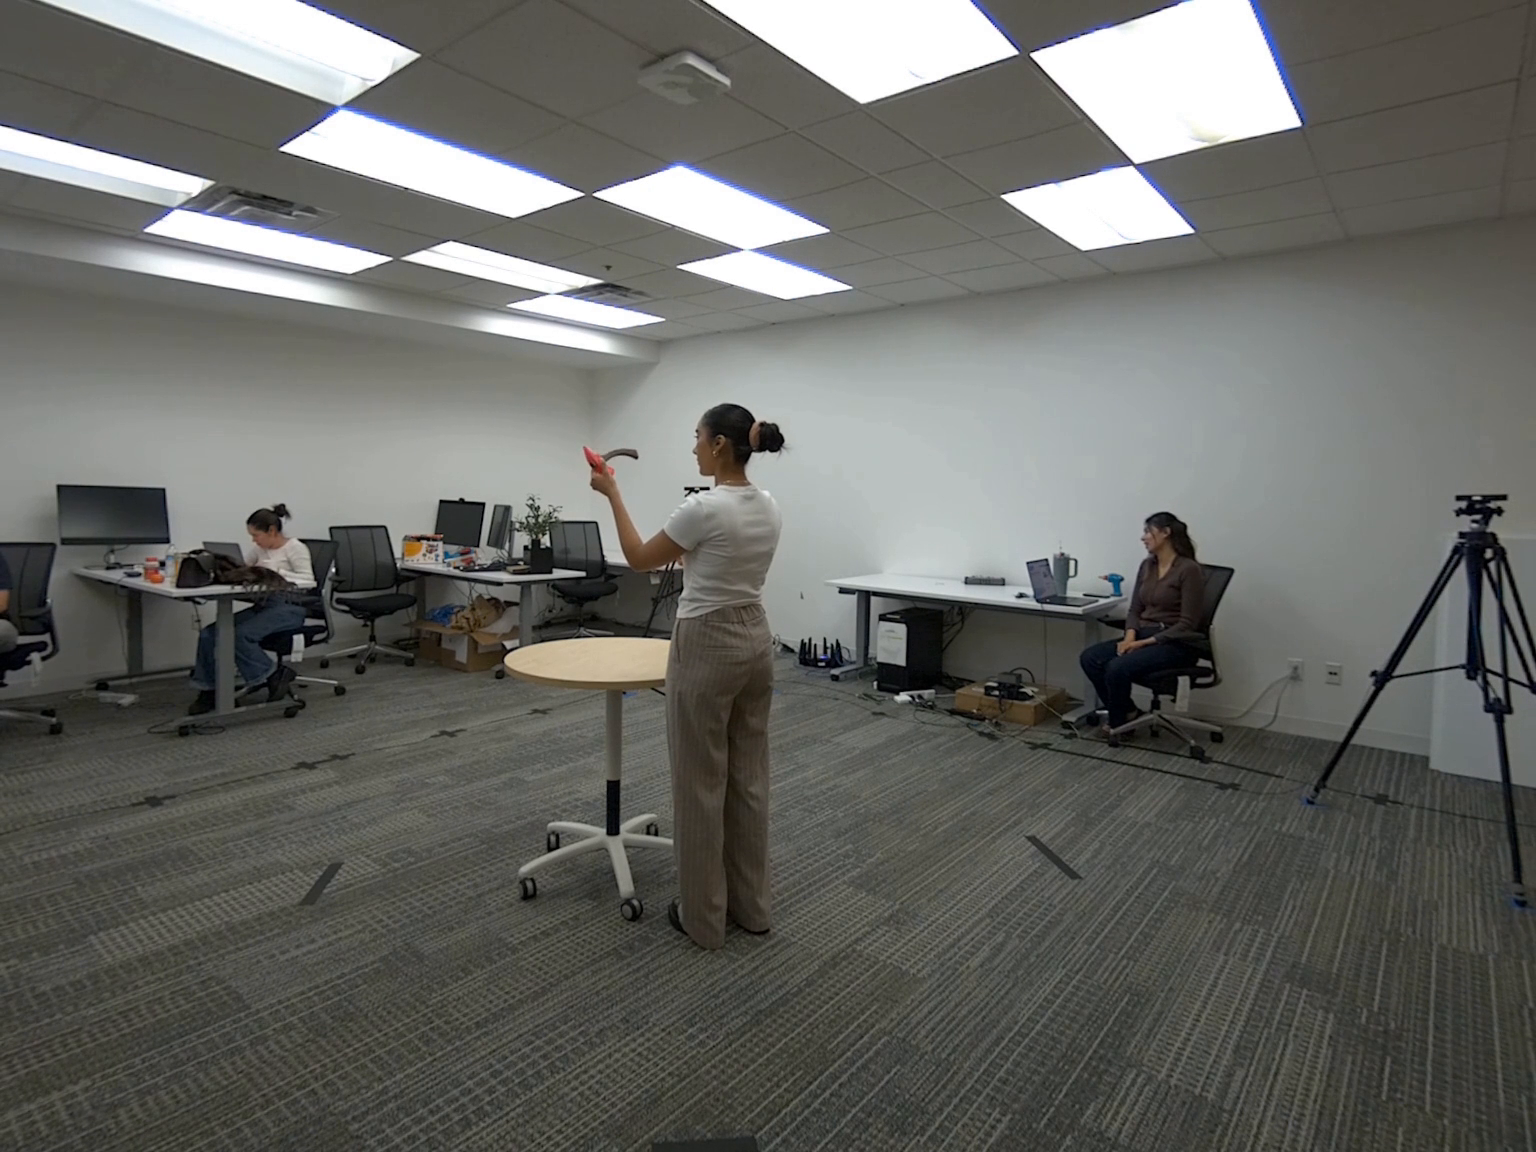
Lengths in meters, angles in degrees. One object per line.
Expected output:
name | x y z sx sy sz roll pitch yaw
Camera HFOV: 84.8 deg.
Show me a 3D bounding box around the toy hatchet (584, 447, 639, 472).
toy hatchet | -0.509 -0.373 2.817 0.030 0.133 0.263 -35 -13 27
